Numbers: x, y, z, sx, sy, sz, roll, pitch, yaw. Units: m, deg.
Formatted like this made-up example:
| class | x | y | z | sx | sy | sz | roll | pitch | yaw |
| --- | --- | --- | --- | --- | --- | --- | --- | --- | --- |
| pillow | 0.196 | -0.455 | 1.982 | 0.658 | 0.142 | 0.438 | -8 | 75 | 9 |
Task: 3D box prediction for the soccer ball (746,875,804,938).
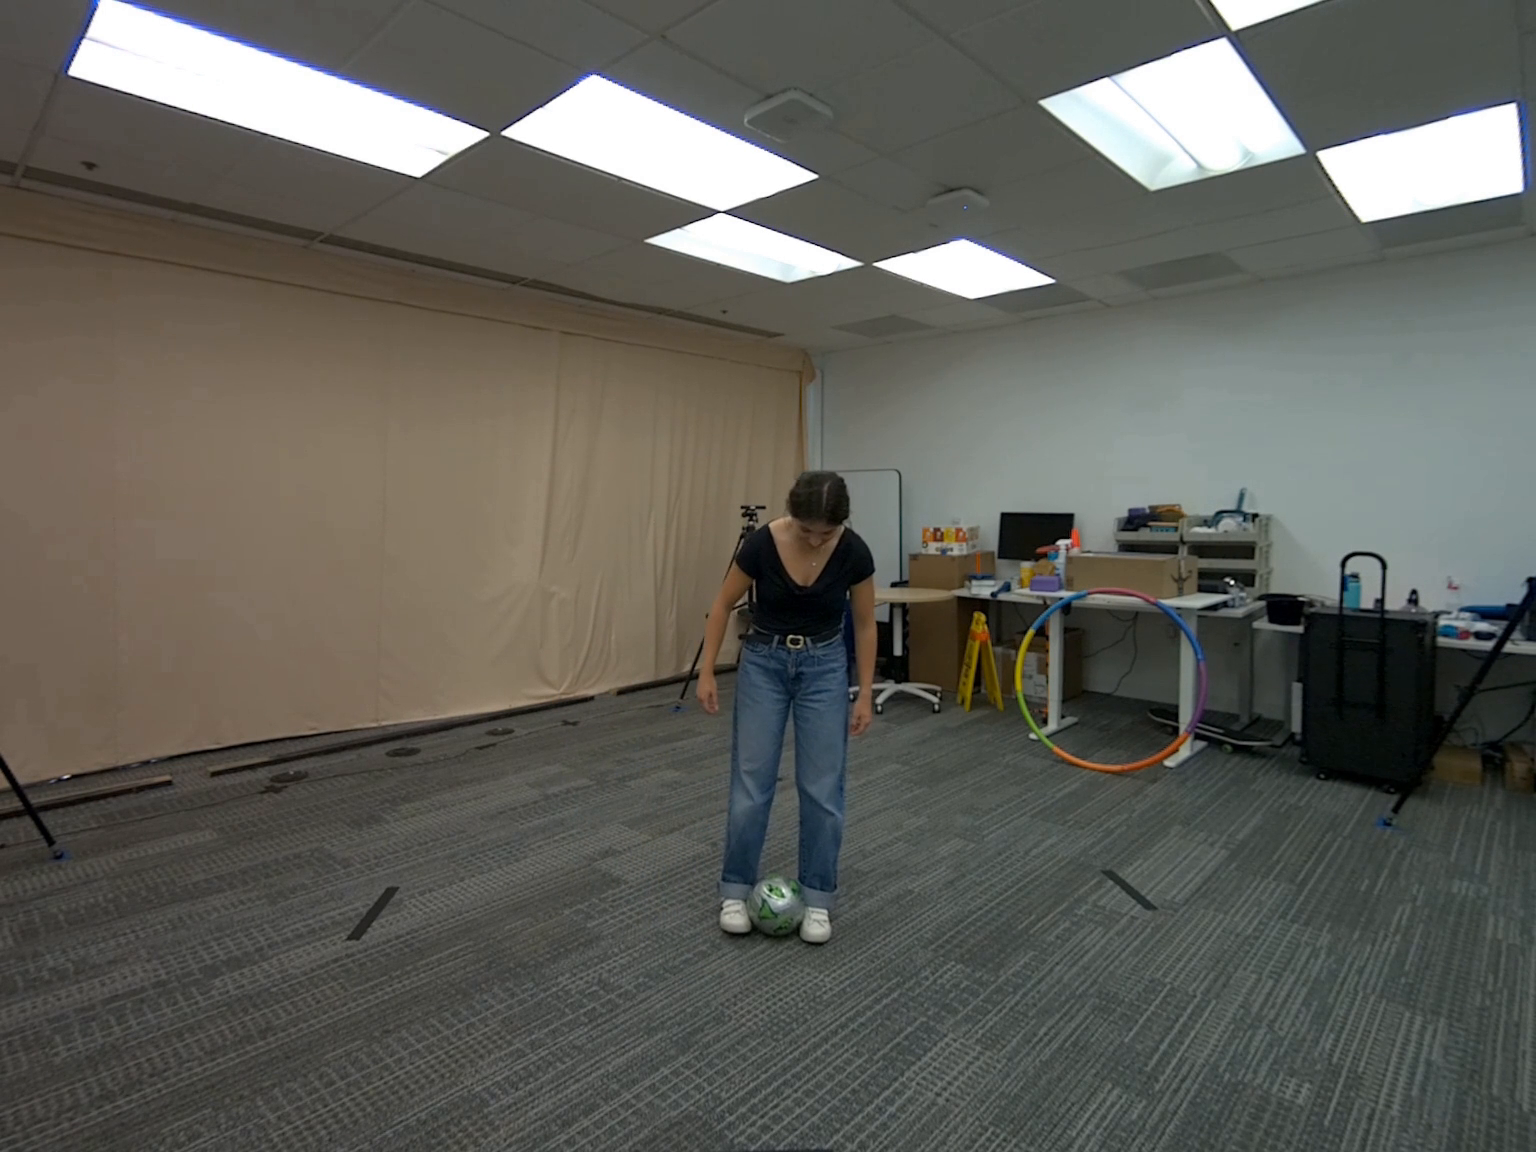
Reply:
| class | x | y | z | sx | sy | sz | roll | pitch | yaw |
| --- | --- | --- | --- | --- | --- | --- | --- | --- | --- |
| soccer ball | 0.036 | 1.076 | 2.743 | 0.187 | 0.187 | 0.188 | 0 | 4 | -2 |
